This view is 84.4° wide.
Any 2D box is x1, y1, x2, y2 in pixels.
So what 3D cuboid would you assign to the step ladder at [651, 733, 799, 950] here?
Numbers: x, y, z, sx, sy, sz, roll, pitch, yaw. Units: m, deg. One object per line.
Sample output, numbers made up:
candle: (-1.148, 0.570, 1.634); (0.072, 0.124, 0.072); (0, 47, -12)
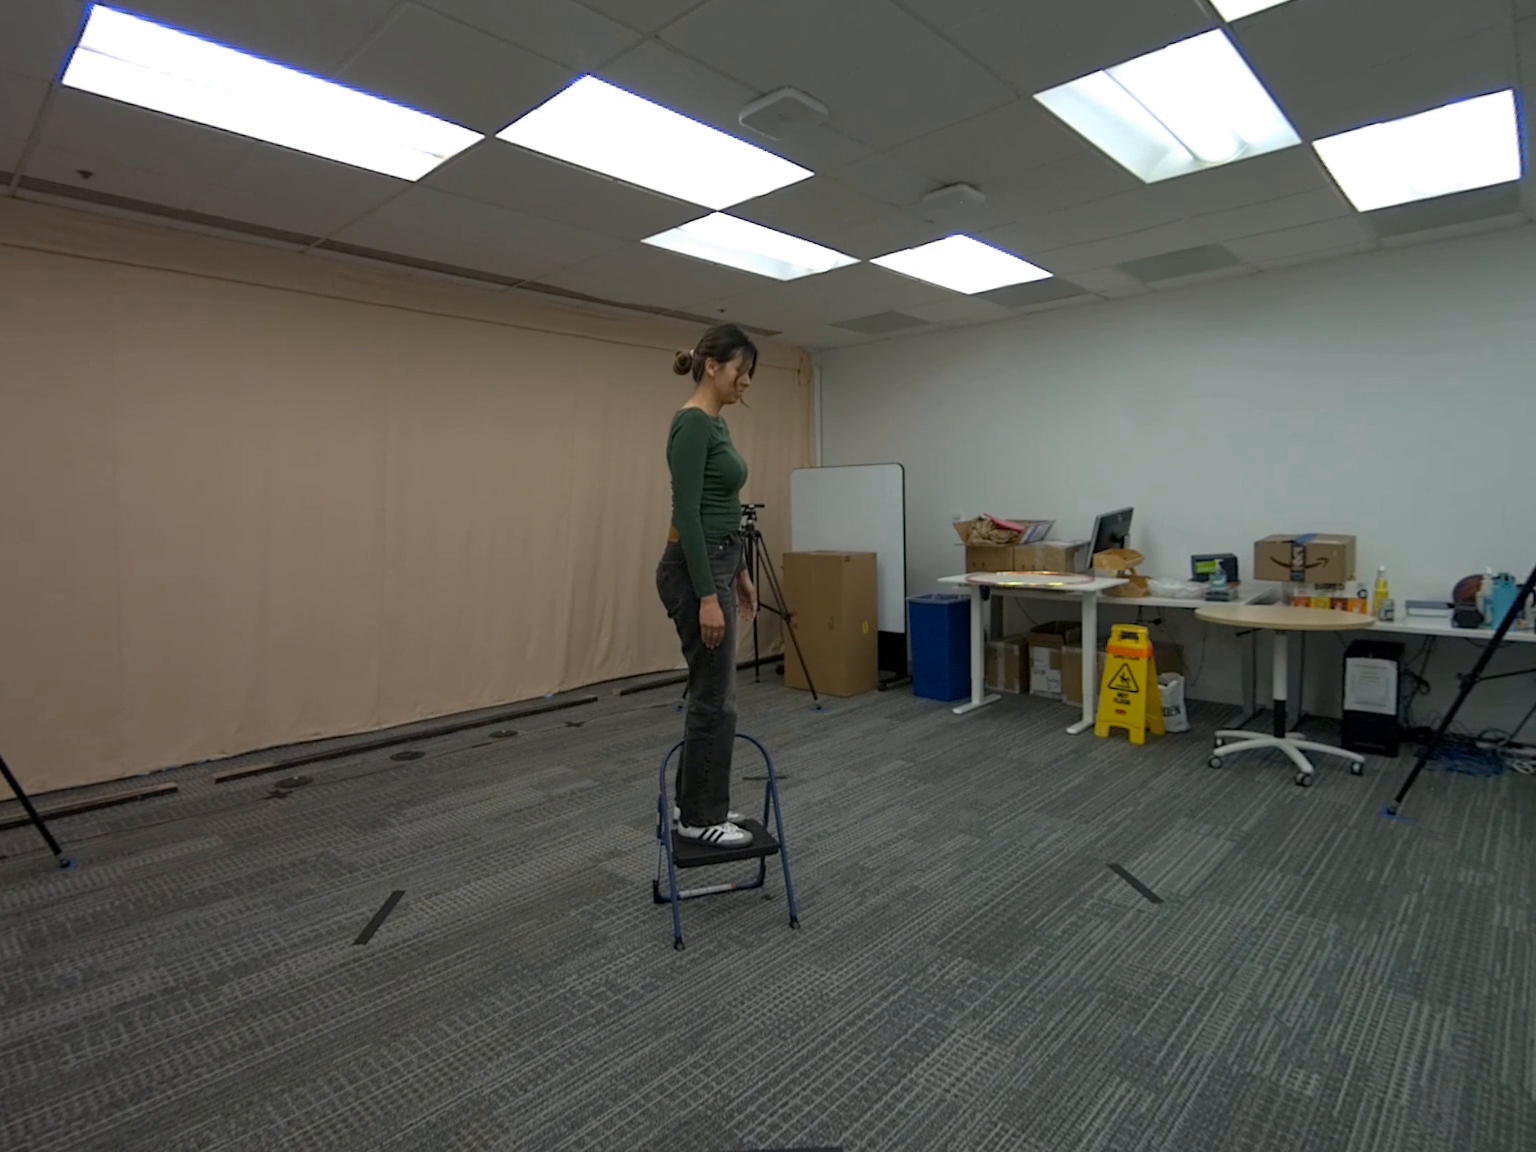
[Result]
step ladder: (-0.152, 0.854, 2.853); (0.422, 0.605, 0.357); (-2, 4, -20)
